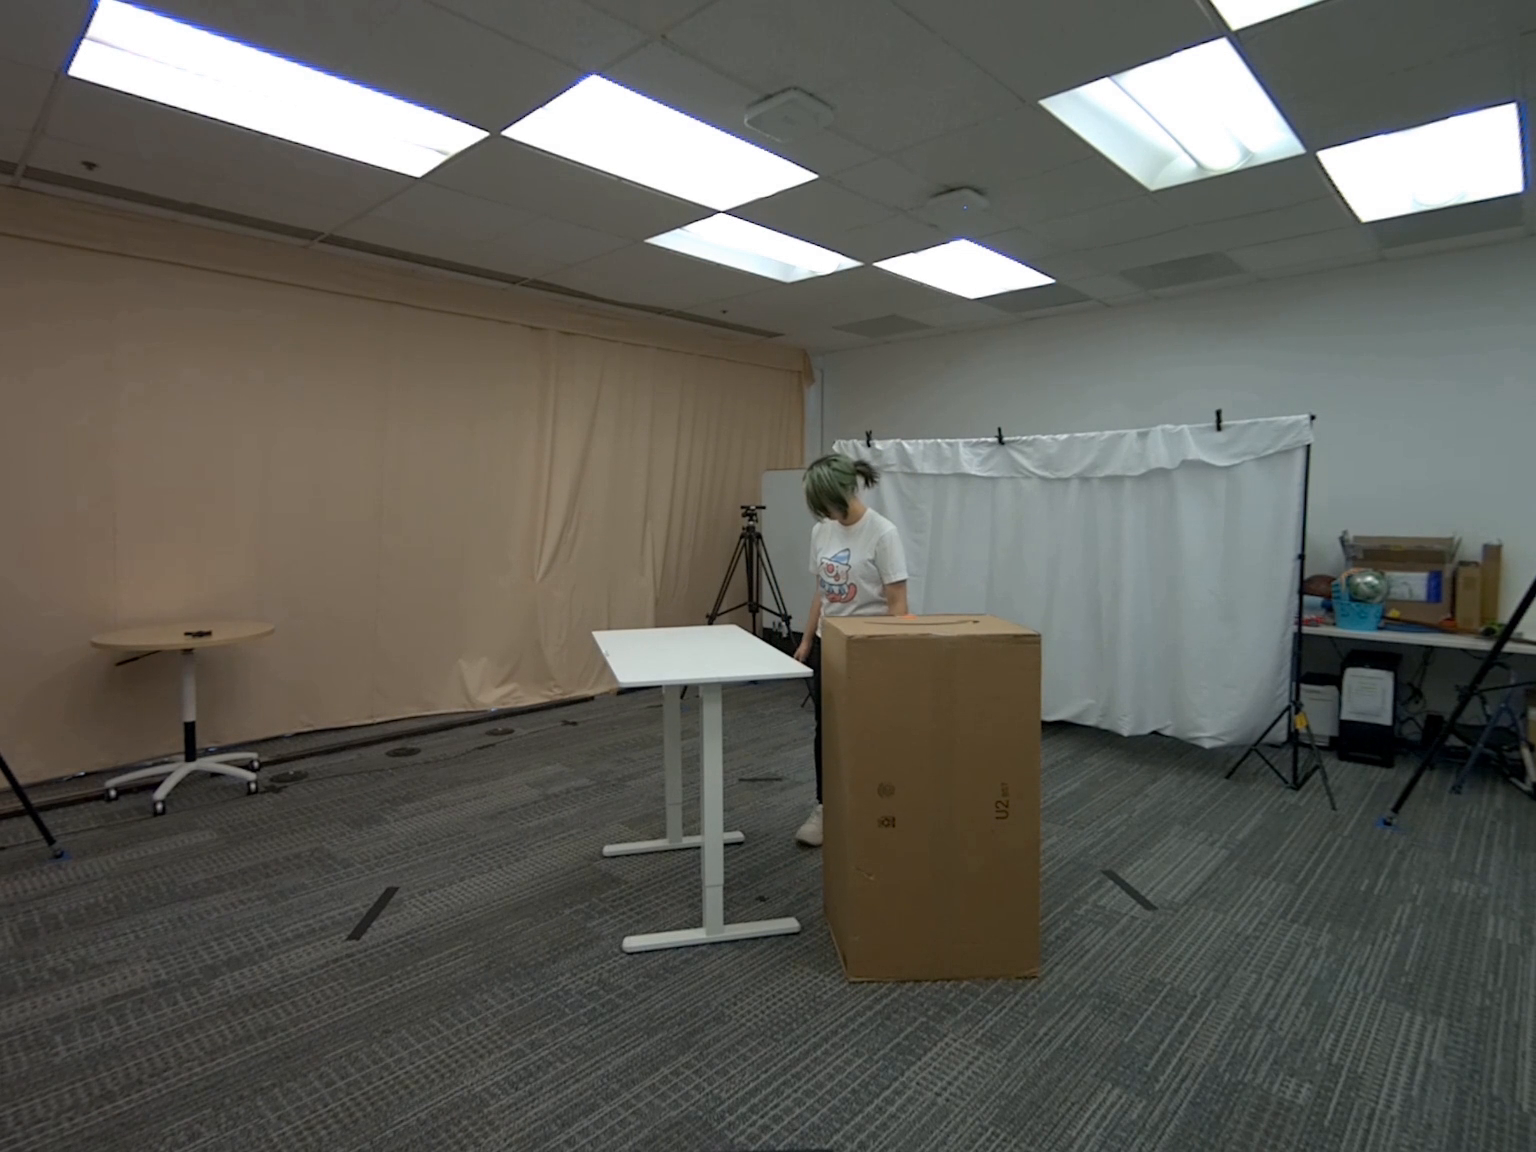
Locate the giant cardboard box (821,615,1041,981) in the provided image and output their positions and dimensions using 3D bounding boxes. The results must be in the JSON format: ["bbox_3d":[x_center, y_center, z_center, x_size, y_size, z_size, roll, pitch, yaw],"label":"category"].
[{"bbox_3d":[0.494,0.664,2.650,0.582,1.024,0.450,-1,4,-4],"label":"giant cardboard box"}]
